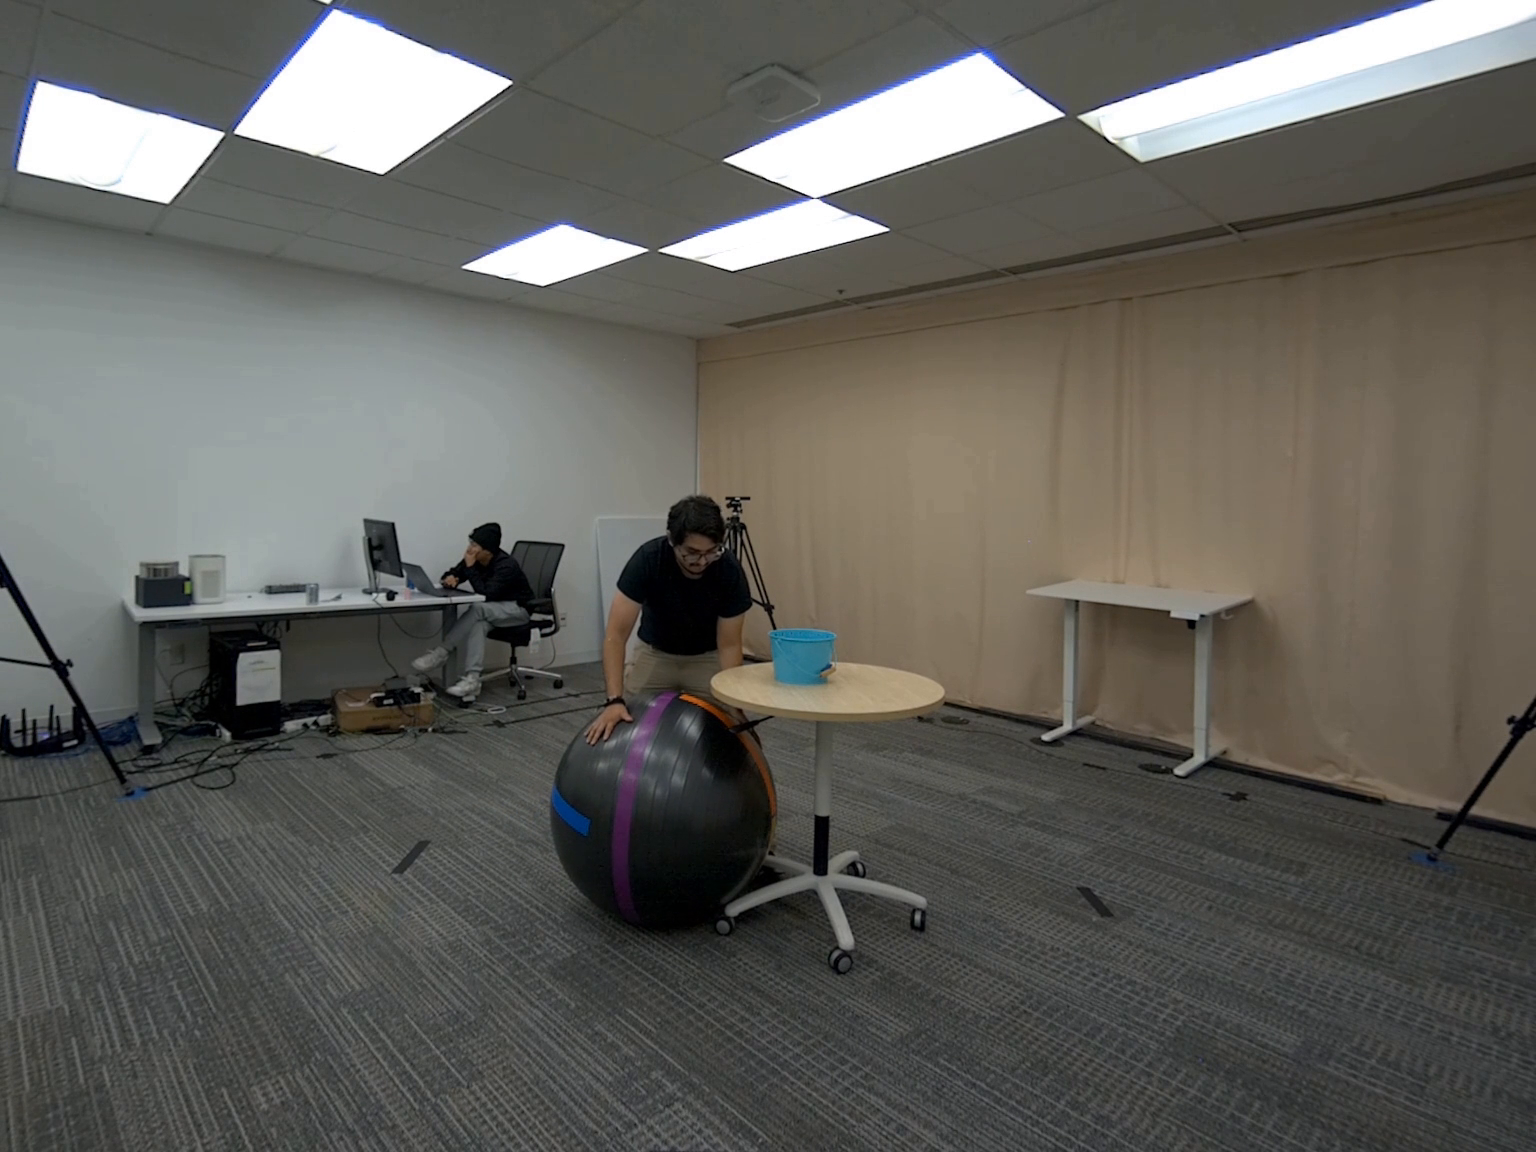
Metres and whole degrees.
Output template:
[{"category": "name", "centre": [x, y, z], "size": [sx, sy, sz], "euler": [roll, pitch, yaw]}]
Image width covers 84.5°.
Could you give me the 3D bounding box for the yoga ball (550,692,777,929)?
[{"category": "yoga ball", "centre": [-0.364, 0.785, 2.848], "size": [0.757, 0.756, 0.761], "euler": [1, 4, -1]}]
